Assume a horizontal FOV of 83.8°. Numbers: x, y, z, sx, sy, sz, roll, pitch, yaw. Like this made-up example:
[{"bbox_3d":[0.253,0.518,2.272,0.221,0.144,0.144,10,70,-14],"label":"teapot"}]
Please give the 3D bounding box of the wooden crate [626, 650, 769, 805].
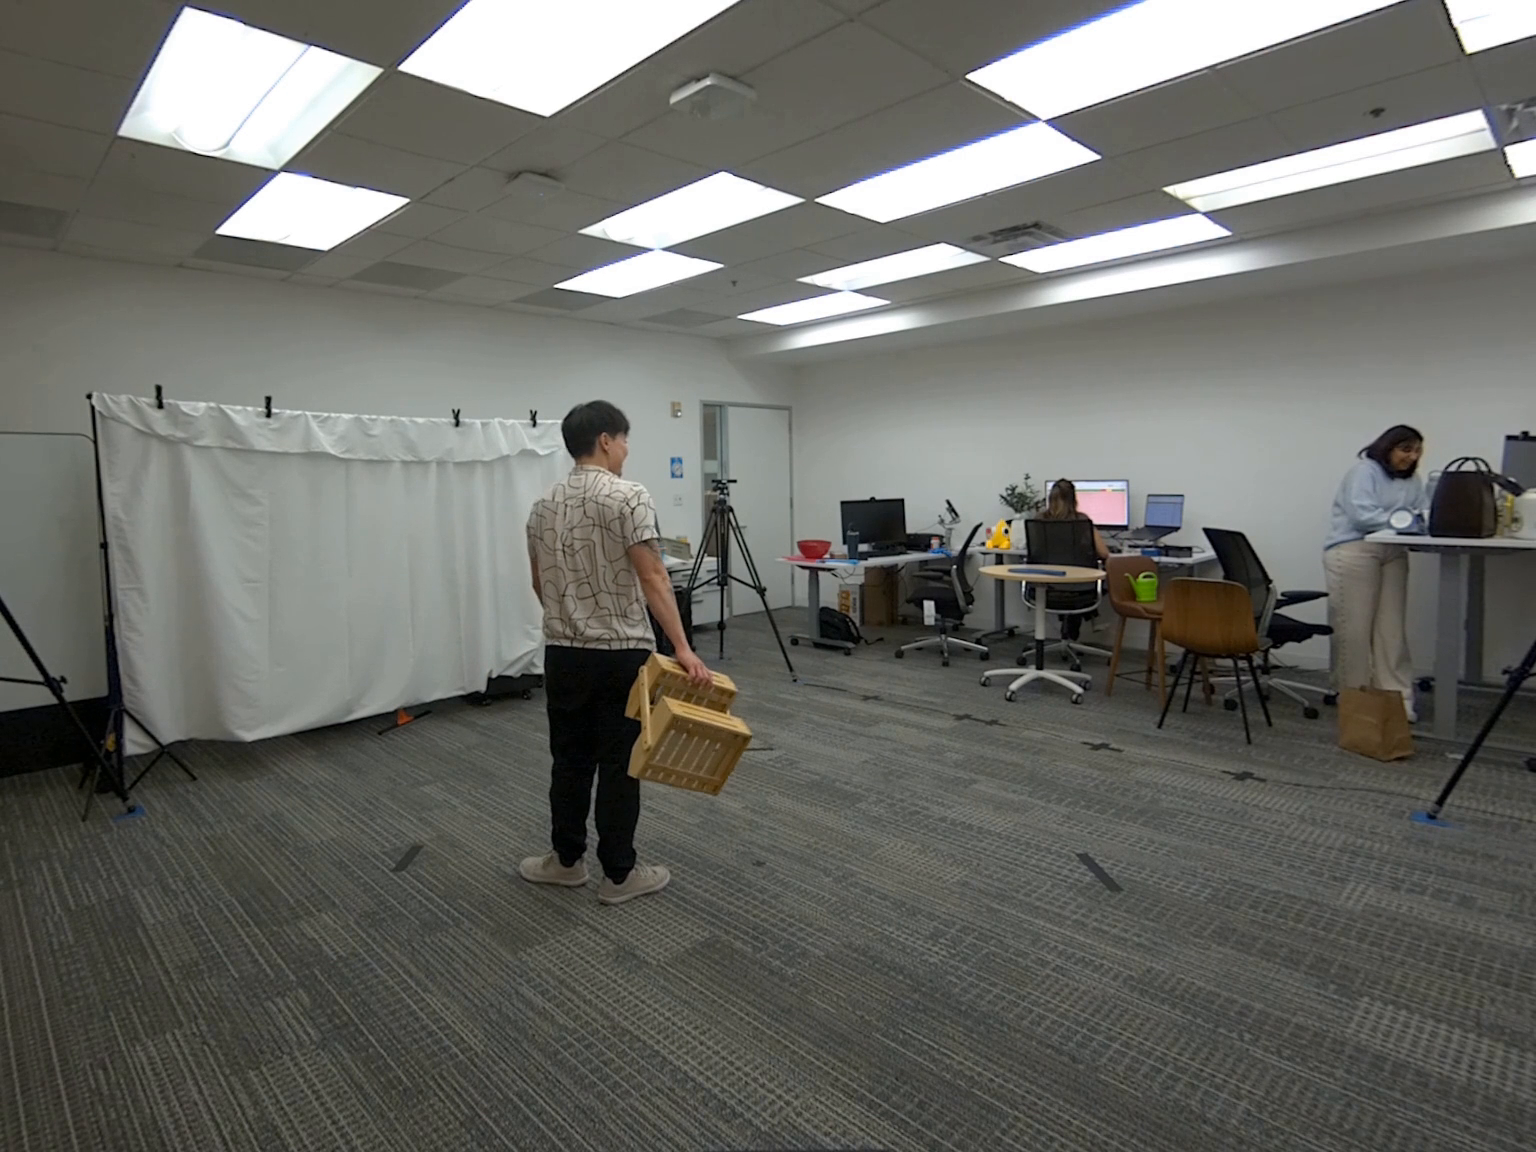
[{"bbox_3d":[-0.257,0.463,2.635,0.313,0.301,0.284,23,14,-34],"label":"wooden crate"}]
